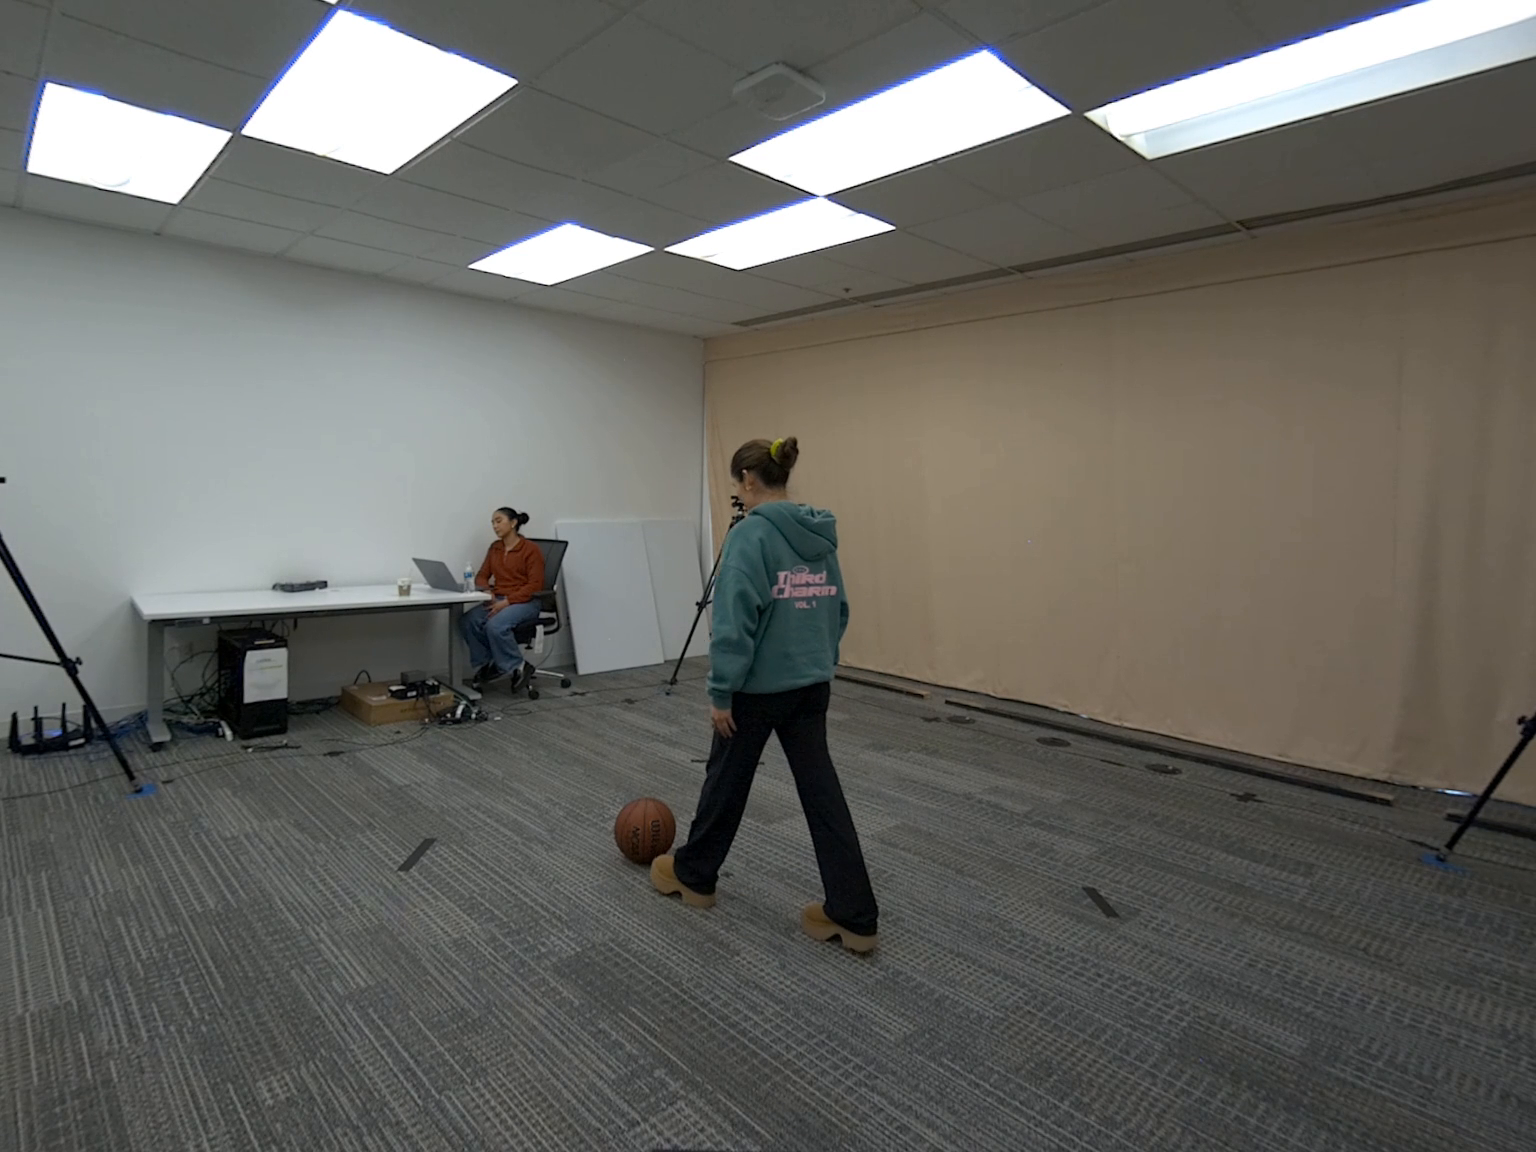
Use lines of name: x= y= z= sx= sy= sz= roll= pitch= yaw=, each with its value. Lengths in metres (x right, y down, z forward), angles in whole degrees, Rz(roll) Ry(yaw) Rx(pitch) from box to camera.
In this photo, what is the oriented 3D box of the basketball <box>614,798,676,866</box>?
basketball: x=-0.476 y=0.965 z=3.209 sx=0.236 sy=0.235 sz=0.237 roll=1 pitch=4 yaw=-1
